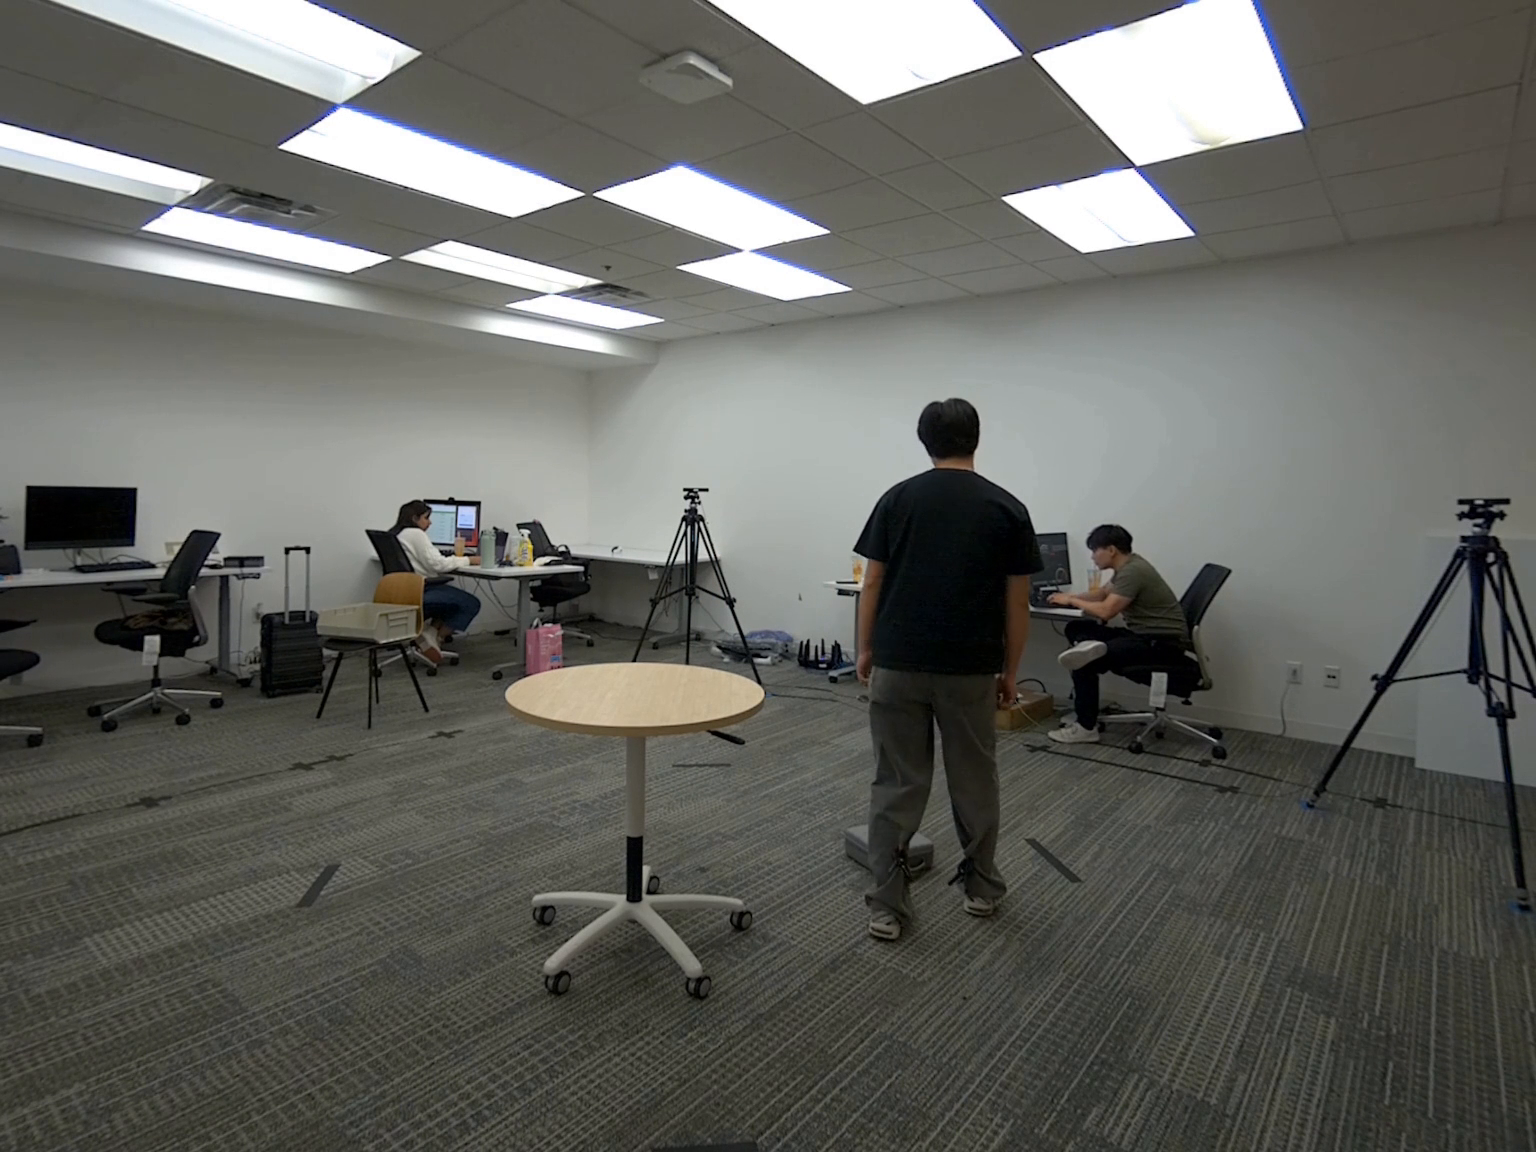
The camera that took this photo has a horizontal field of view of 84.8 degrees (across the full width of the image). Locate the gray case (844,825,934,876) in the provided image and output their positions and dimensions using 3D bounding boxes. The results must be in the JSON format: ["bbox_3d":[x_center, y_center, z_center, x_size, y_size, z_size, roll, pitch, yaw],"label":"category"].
[{"bbox_3d":[0.457,1.023,3.203,0.256,0.102,0.296,-3,9,-29],"label":"gray case"}]
